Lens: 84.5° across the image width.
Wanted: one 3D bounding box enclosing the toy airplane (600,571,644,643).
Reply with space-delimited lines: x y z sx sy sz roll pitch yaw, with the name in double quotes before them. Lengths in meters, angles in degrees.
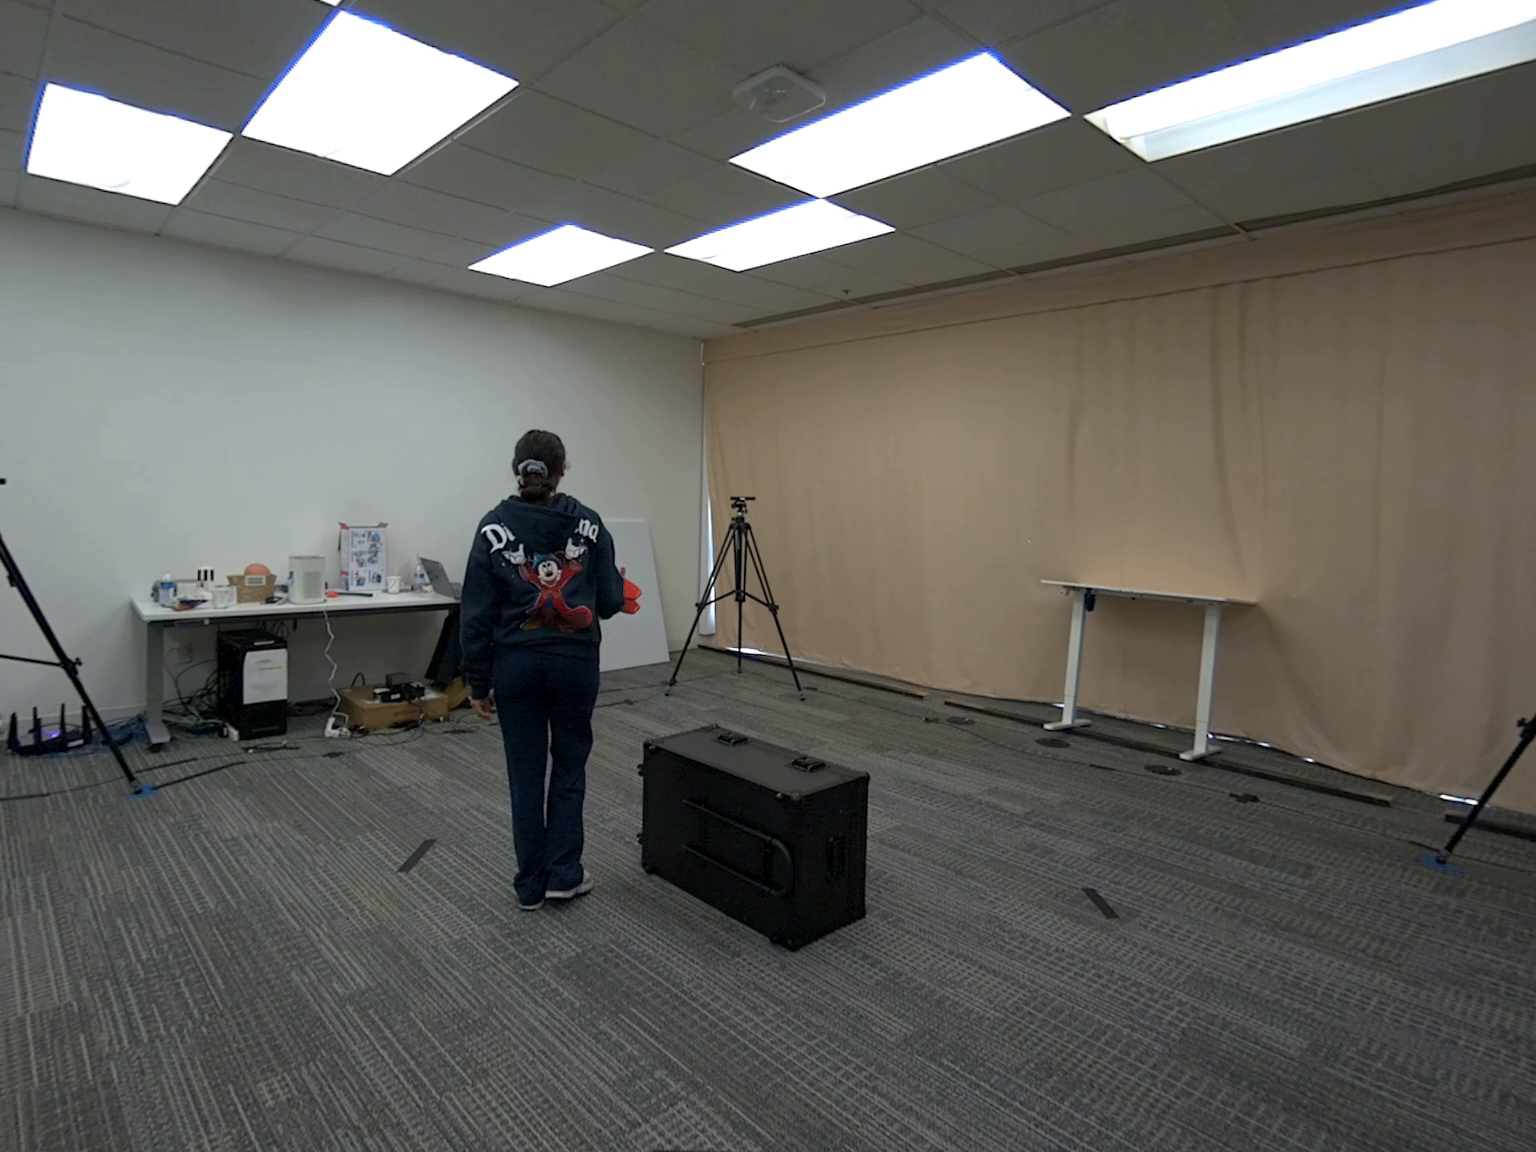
"toy airplane" -0.633 0.098 3.297 0.249 0.155 0.264 13 24 -10
